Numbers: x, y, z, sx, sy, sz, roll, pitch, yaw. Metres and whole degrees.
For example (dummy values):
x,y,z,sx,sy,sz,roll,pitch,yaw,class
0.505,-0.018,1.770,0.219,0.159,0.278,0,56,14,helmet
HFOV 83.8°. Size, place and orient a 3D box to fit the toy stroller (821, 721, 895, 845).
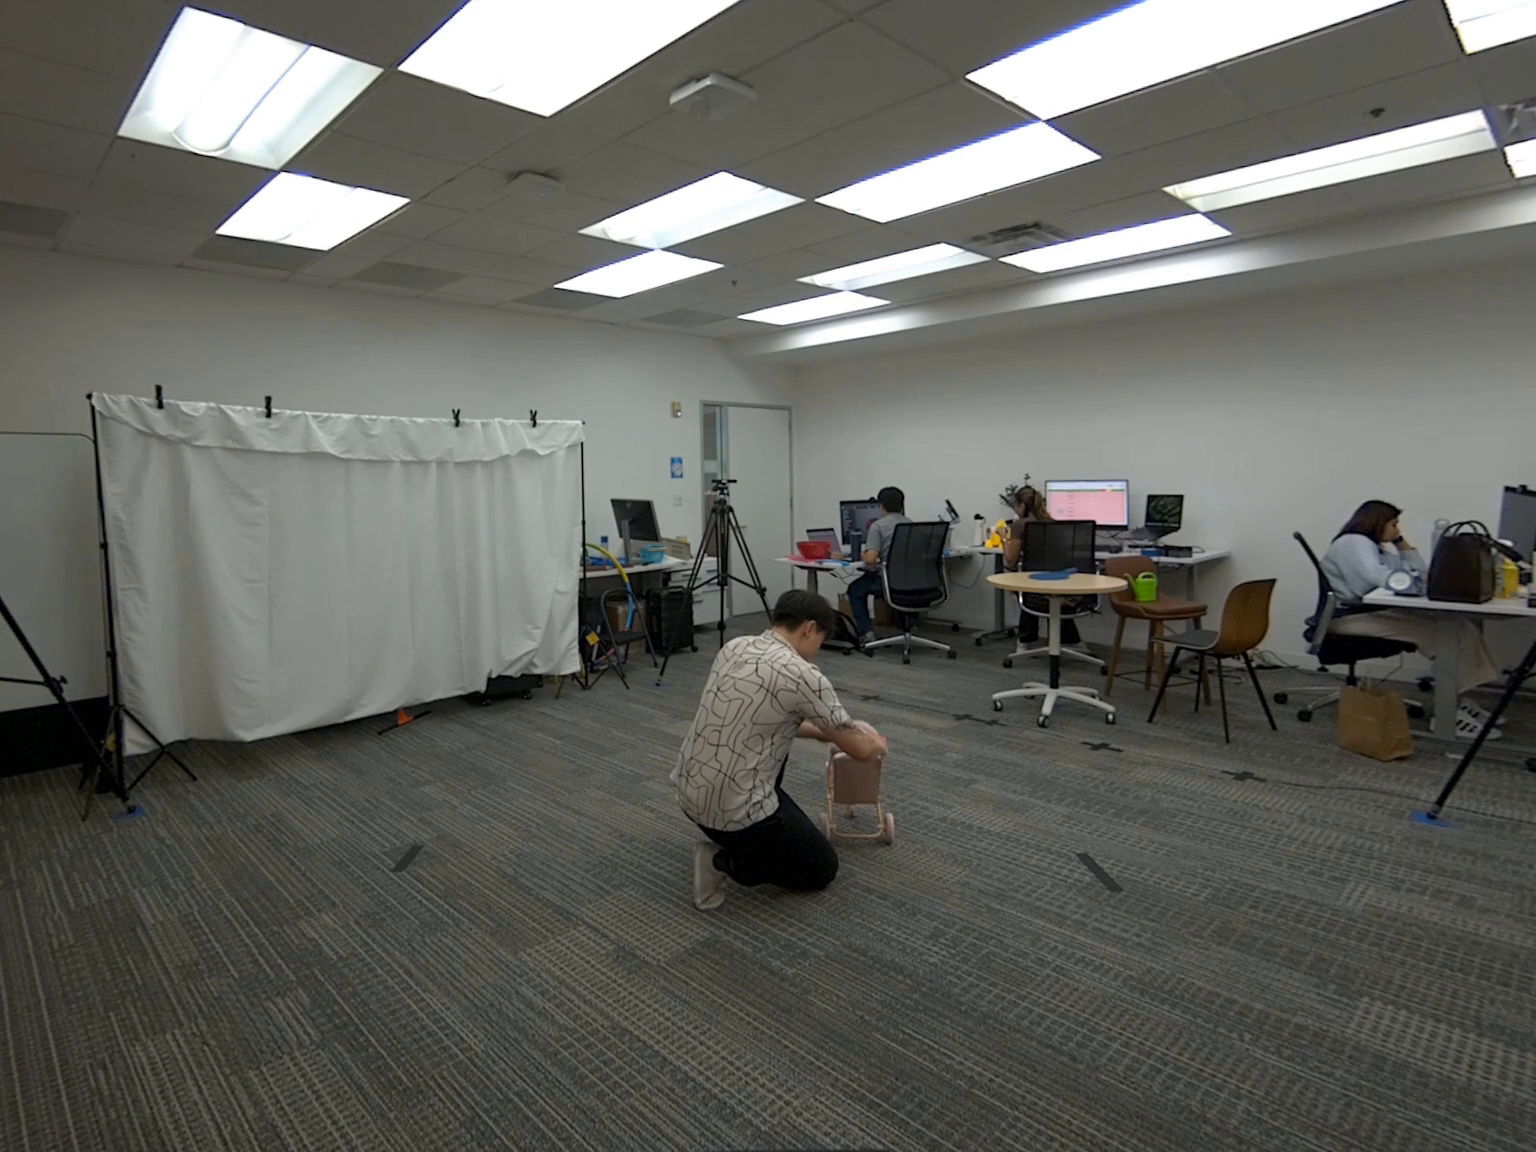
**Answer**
x,y,z,sx,sy,sz,roll,pitch,yaw,class
0.342,0.793,3.332,0.283,0.525,0.345,0,21,6,toy stroller
